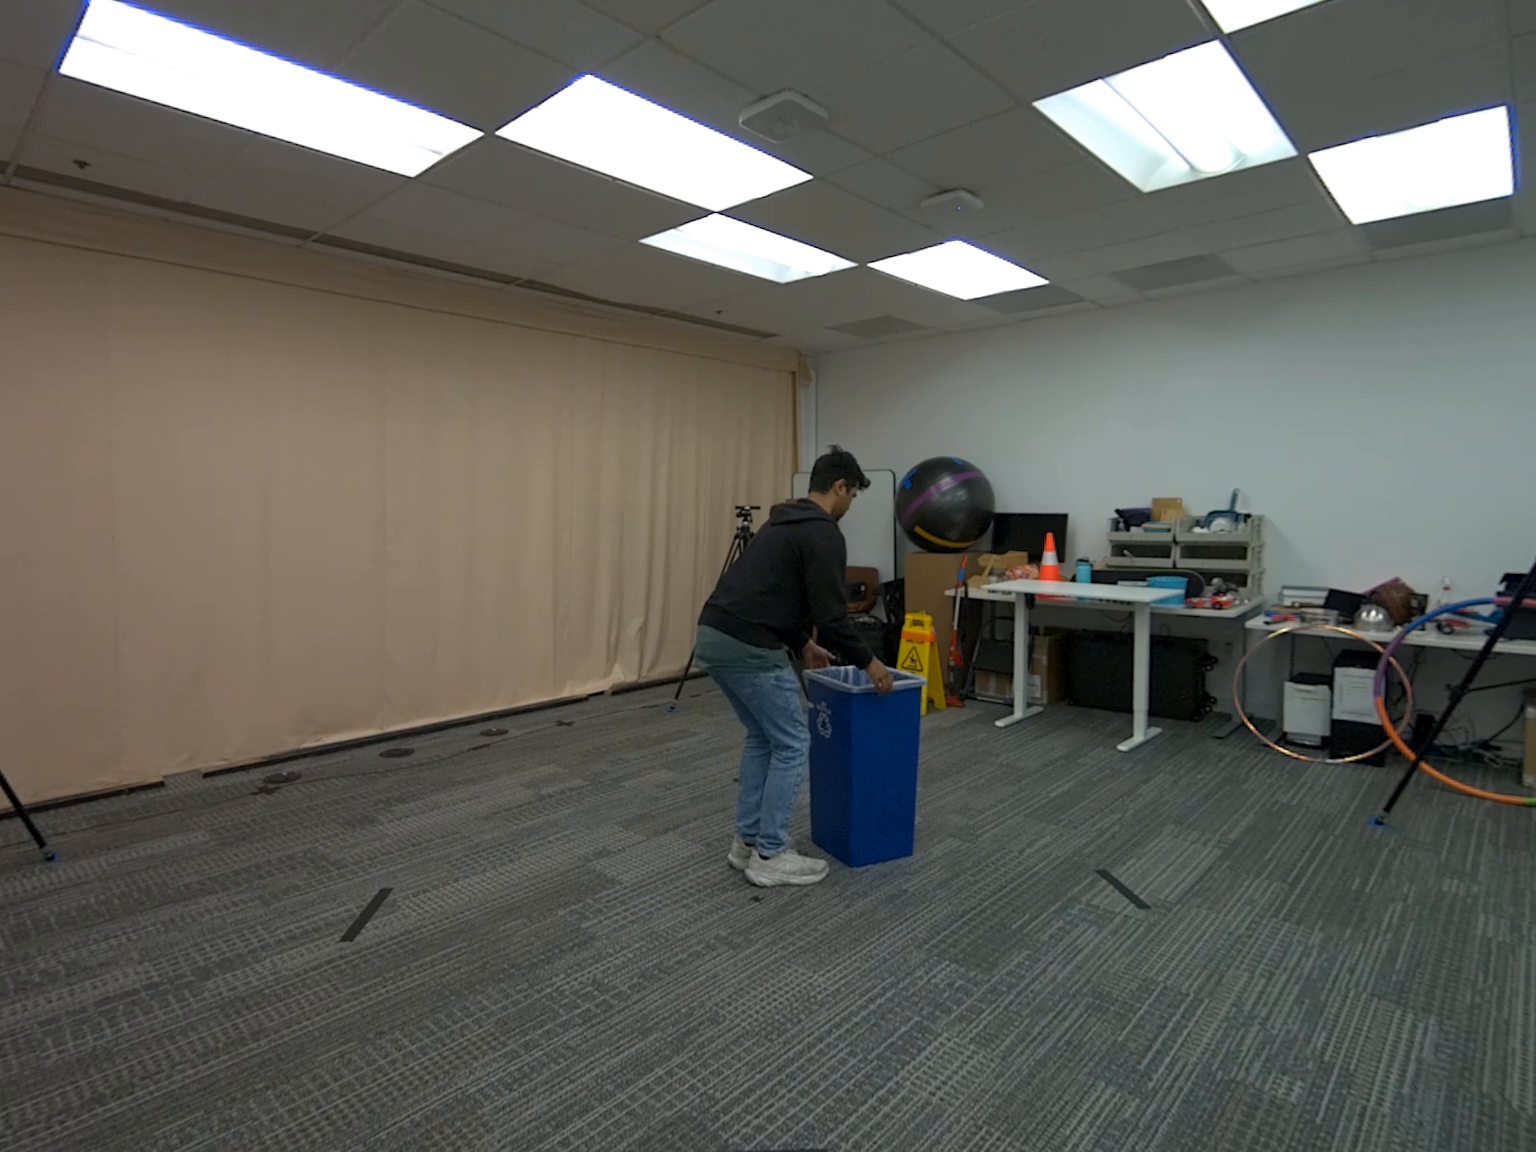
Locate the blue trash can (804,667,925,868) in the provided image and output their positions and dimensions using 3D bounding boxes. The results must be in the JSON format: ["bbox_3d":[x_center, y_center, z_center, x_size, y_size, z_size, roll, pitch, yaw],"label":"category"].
[{"bbox_3d":[0.392,0.750,3.405,0.368,0.712,0.384,-2,3,-28],"label":"blue trash can"}]
